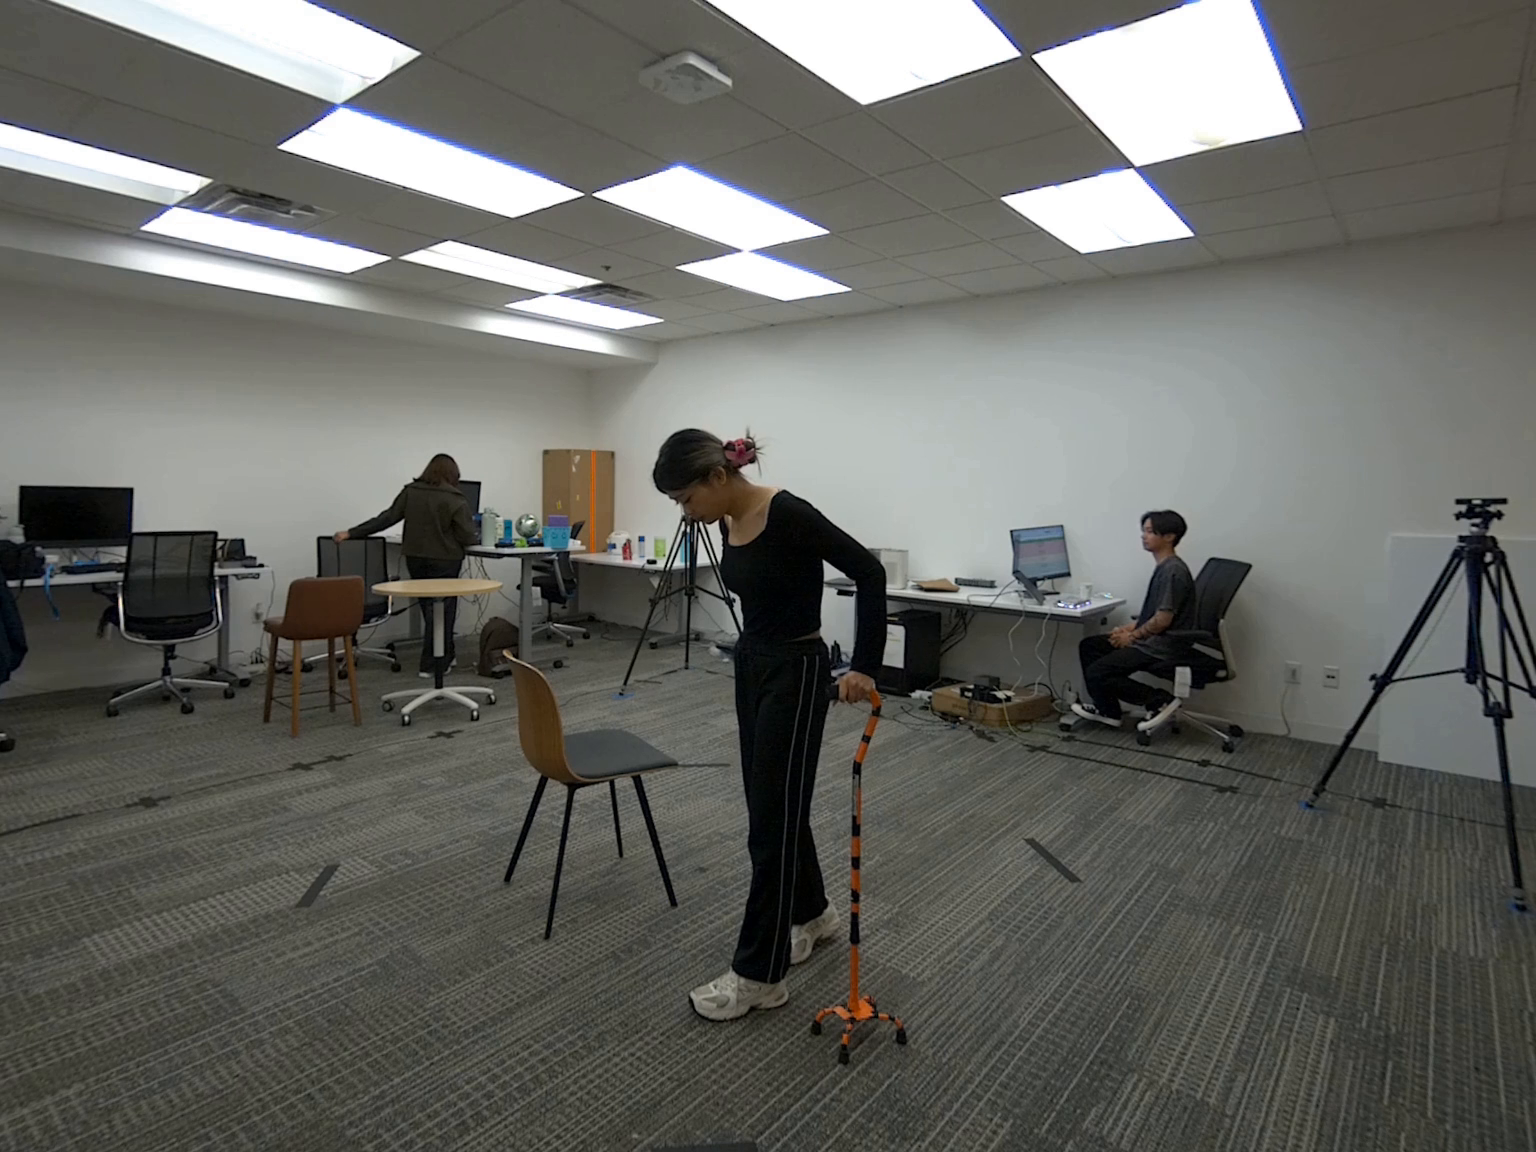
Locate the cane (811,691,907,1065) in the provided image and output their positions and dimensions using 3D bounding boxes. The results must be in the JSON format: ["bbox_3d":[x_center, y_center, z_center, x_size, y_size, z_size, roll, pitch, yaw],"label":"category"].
[{"bbox_3d":[0.227,0.715,2.152,0.201,0.905,0.156,-2,4,-29],"label":"cane"}]
